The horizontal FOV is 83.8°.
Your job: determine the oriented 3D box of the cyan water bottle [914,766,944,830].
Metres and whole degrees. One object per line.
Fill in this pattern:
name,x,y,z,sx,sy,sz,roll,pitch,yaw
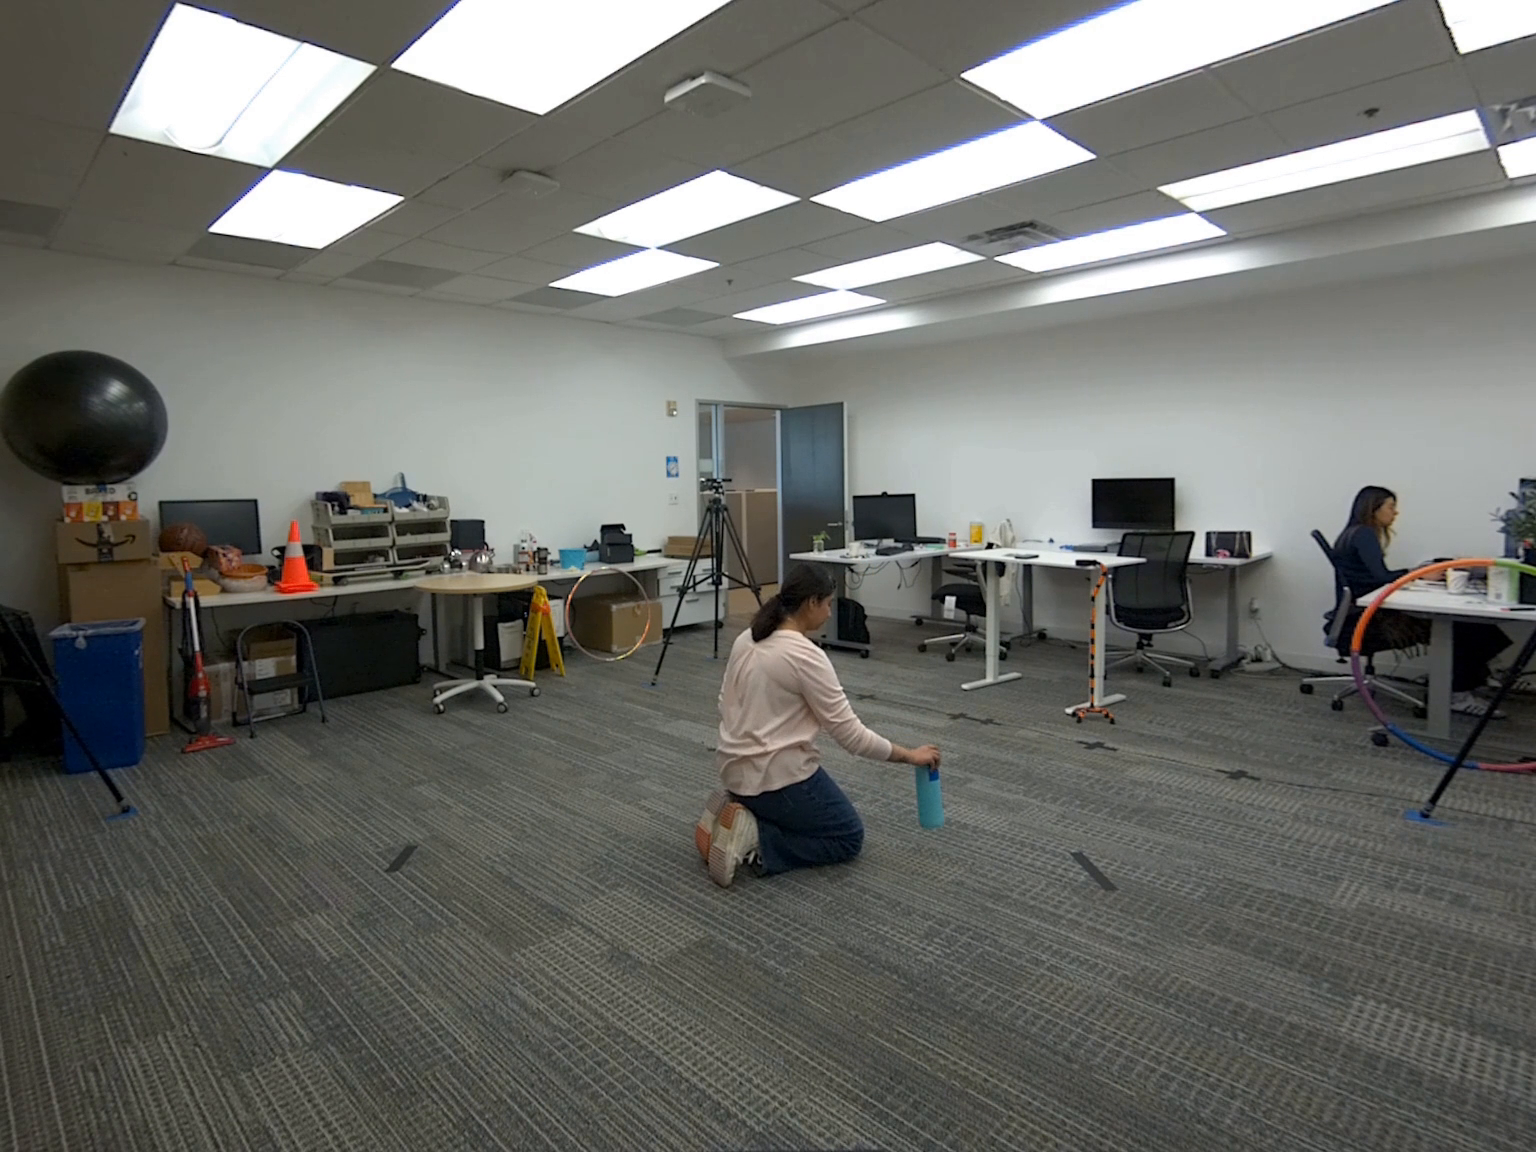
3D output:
cyan water bottle,0.588,0.775,3.154,0.092,0.283,0.092,-4,1,-2
